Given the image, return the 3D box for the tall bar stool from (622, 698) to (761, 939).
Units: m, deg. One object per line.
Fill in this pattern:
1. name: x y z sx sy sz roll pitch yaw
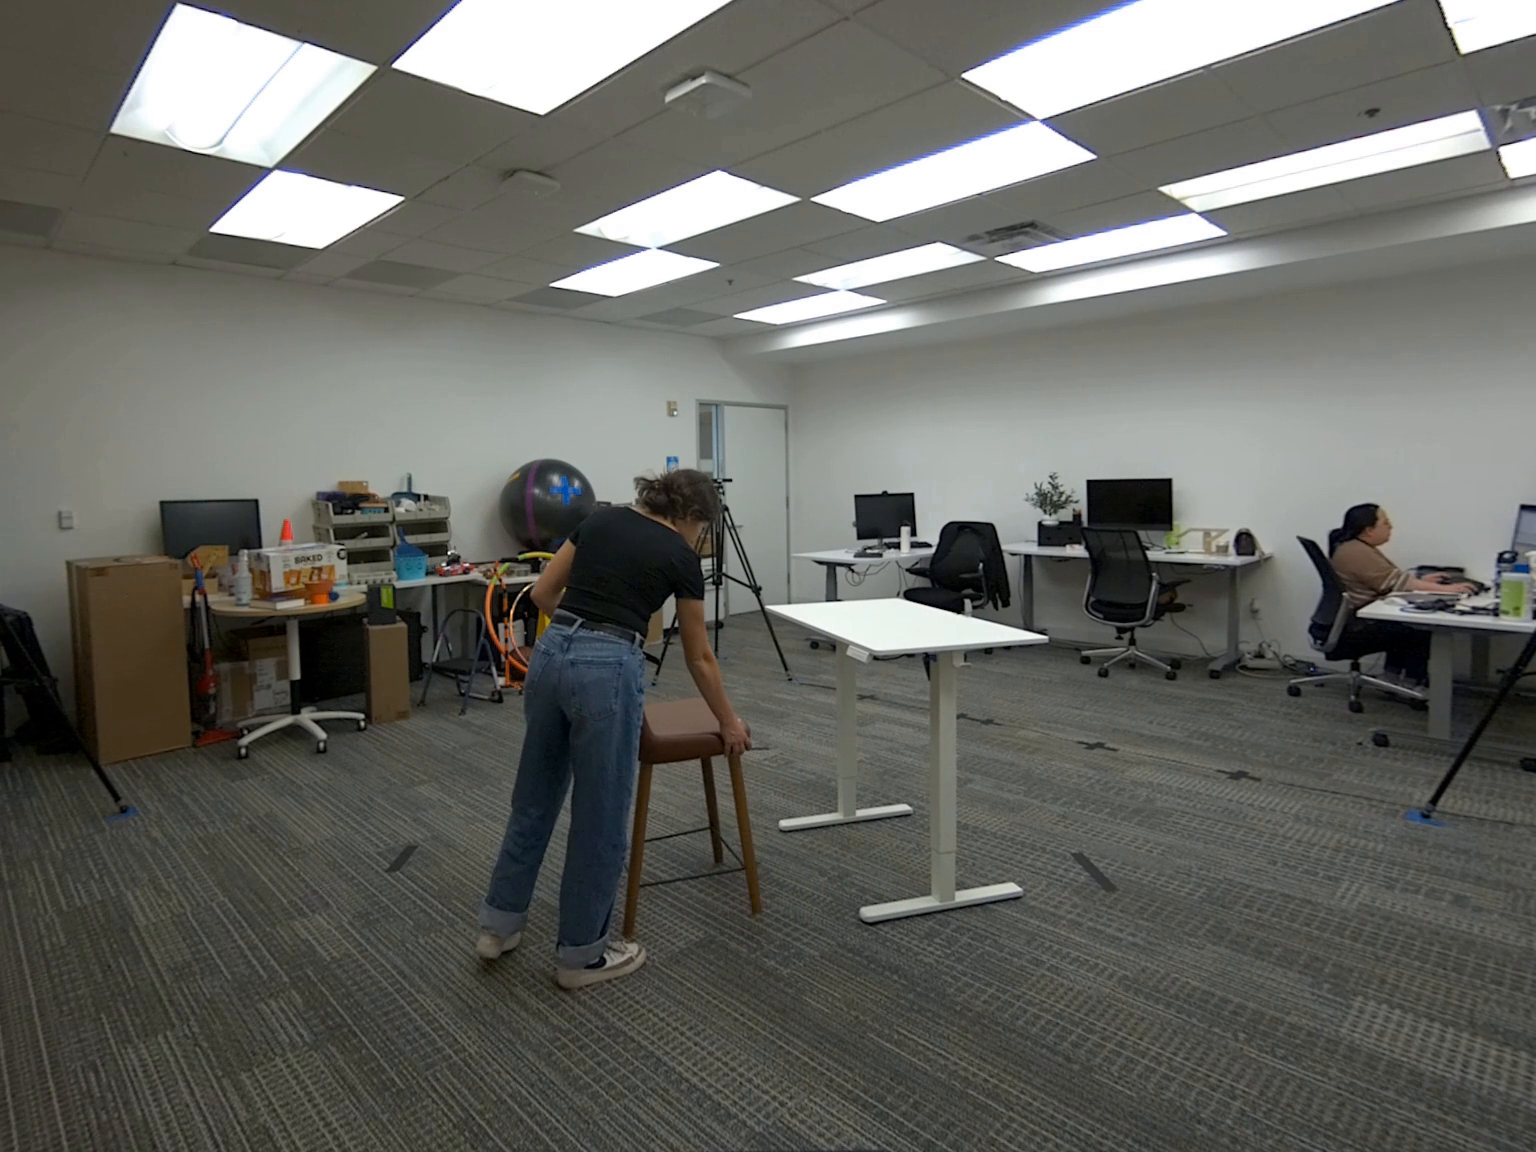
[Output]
1. tall bar stool: -0.311 0.642 2.835 0.460 0.886 0.466 -5 5 -21
